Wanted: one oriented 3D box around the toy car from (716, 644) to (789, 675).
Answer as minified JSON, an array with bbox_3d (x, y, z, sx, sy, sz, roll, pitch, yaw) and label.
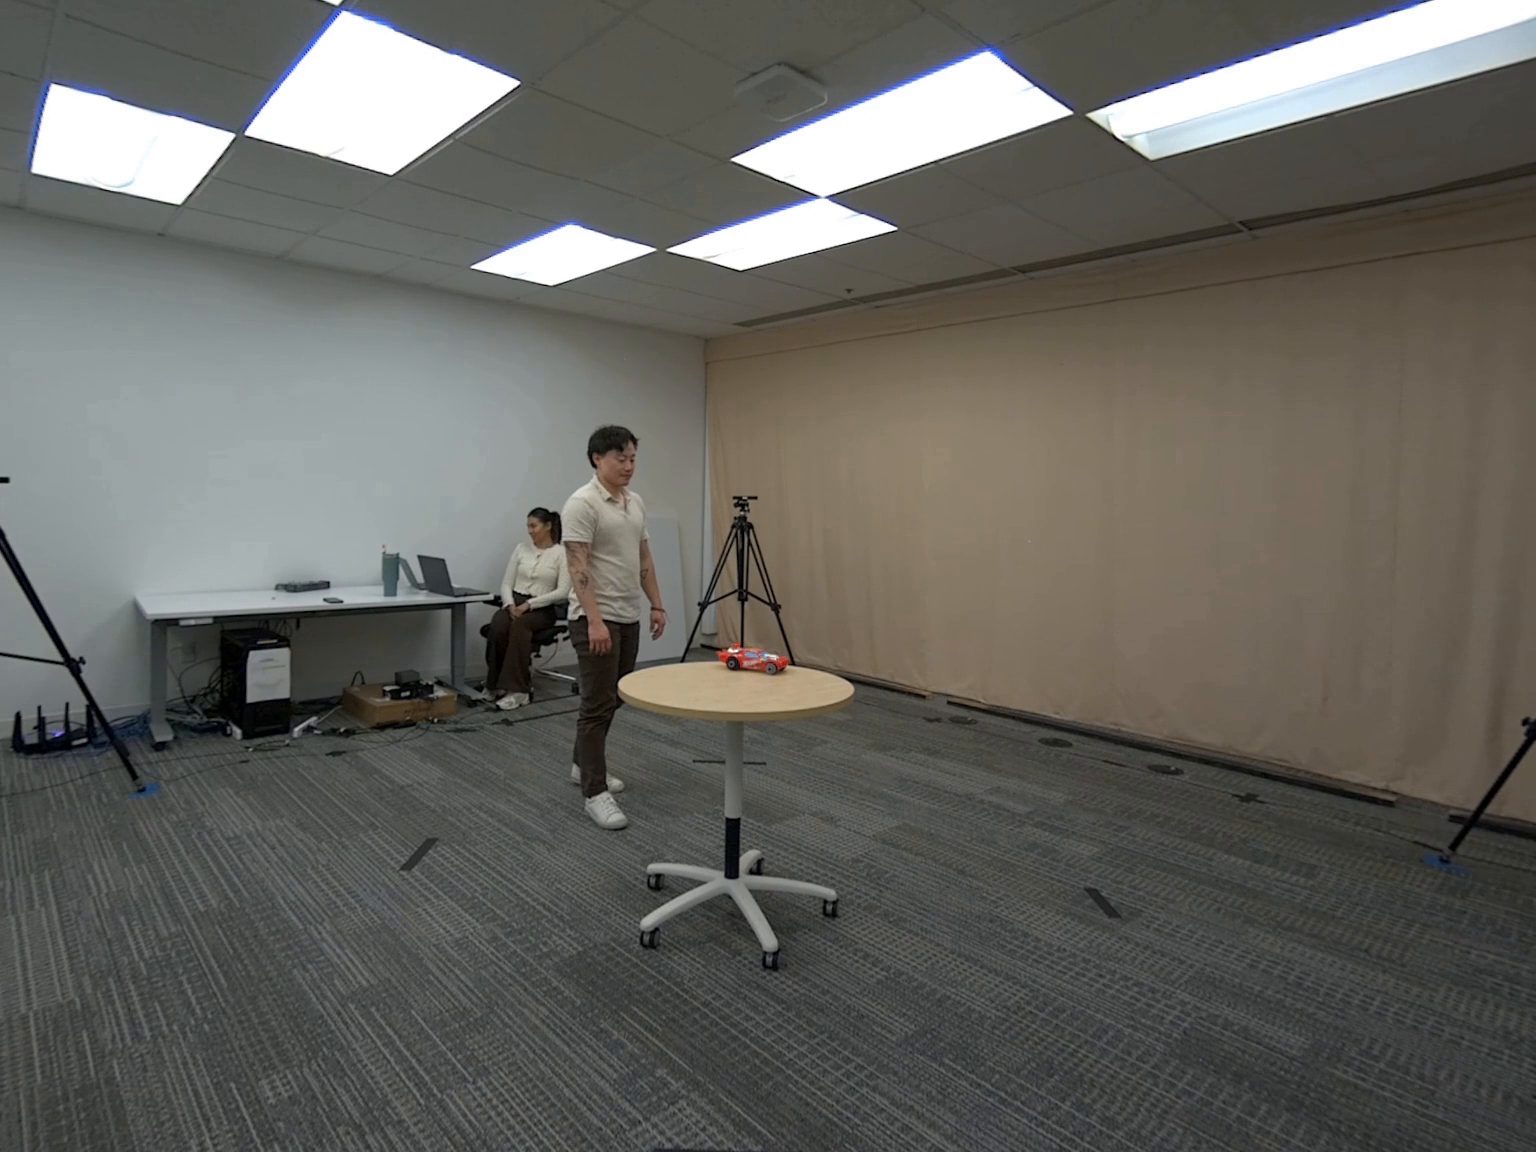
[{"bbox_3d":[-0.065,0.302,2.986,0.260,0.083,0.128,16,10,23],"label":"toy car"}]
